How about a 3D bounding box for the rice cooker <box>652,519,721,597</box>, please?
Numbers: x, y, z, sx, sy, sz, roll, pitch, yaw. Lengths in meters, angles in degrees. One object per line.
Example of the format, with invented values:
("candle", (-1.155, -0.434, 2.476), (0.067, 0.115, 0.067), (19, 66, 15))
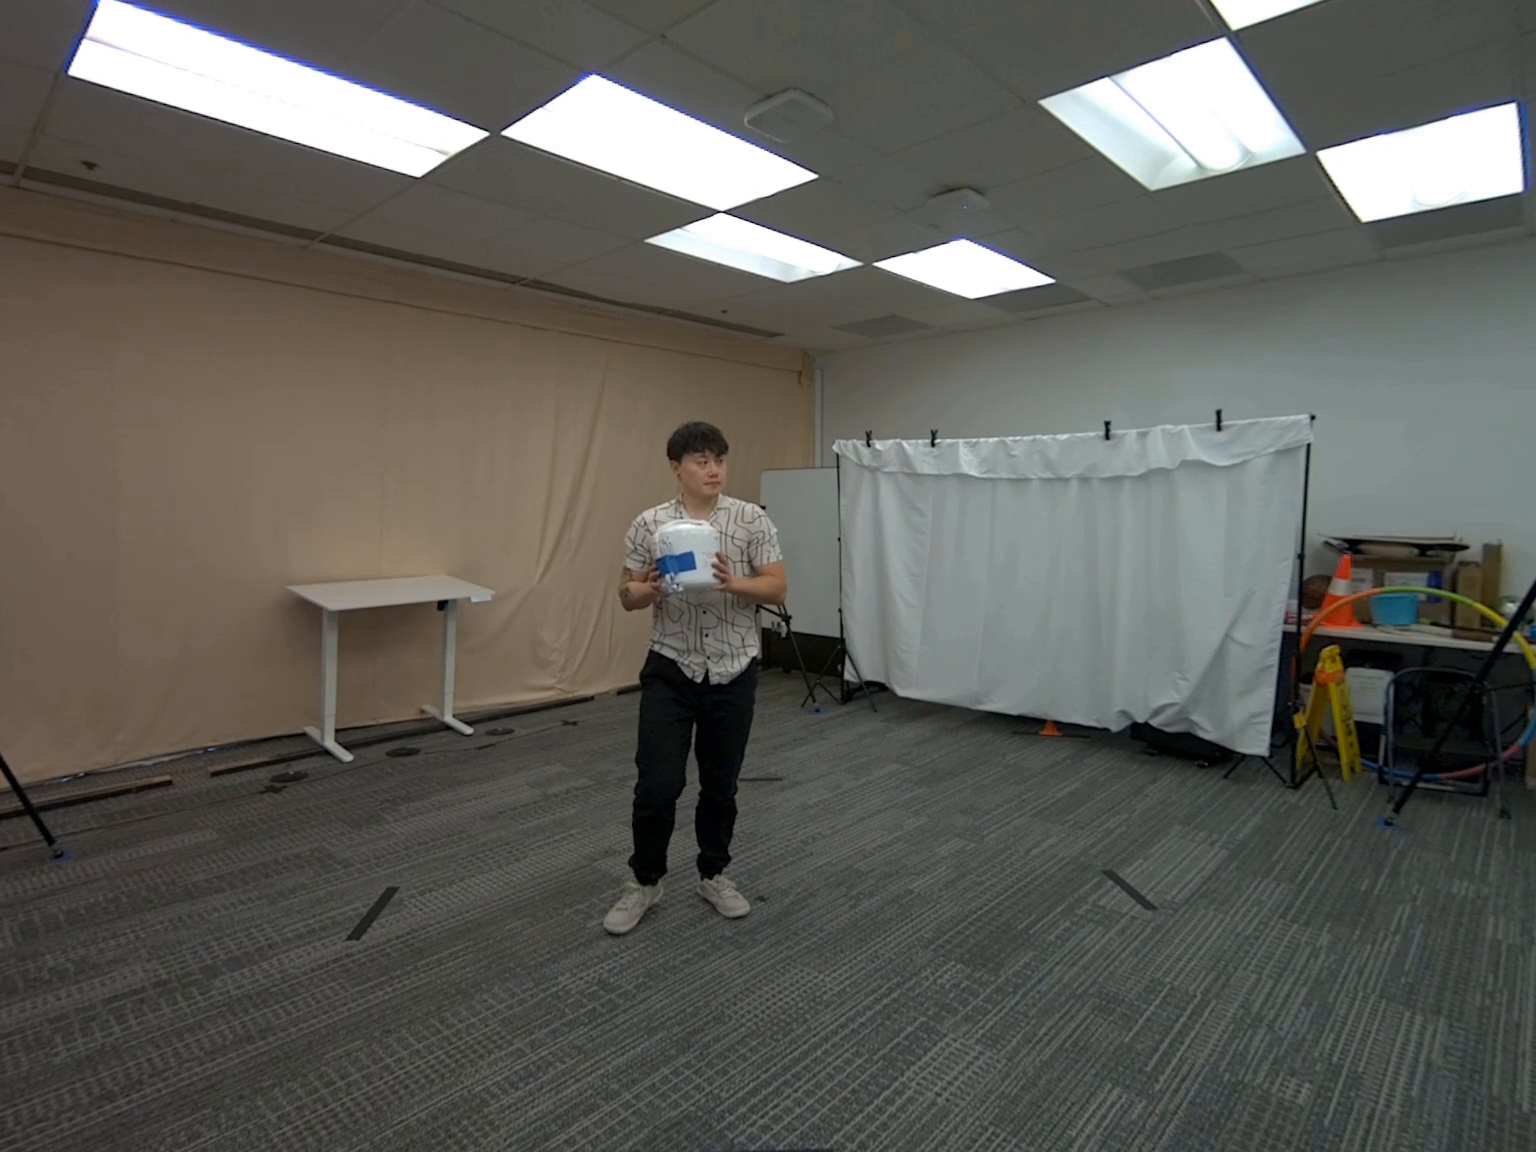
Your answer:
("rice cooker", (-0.261, -0.061, 2.628), (0.217, 0.233, 0.220), (-3, -4, -17))
